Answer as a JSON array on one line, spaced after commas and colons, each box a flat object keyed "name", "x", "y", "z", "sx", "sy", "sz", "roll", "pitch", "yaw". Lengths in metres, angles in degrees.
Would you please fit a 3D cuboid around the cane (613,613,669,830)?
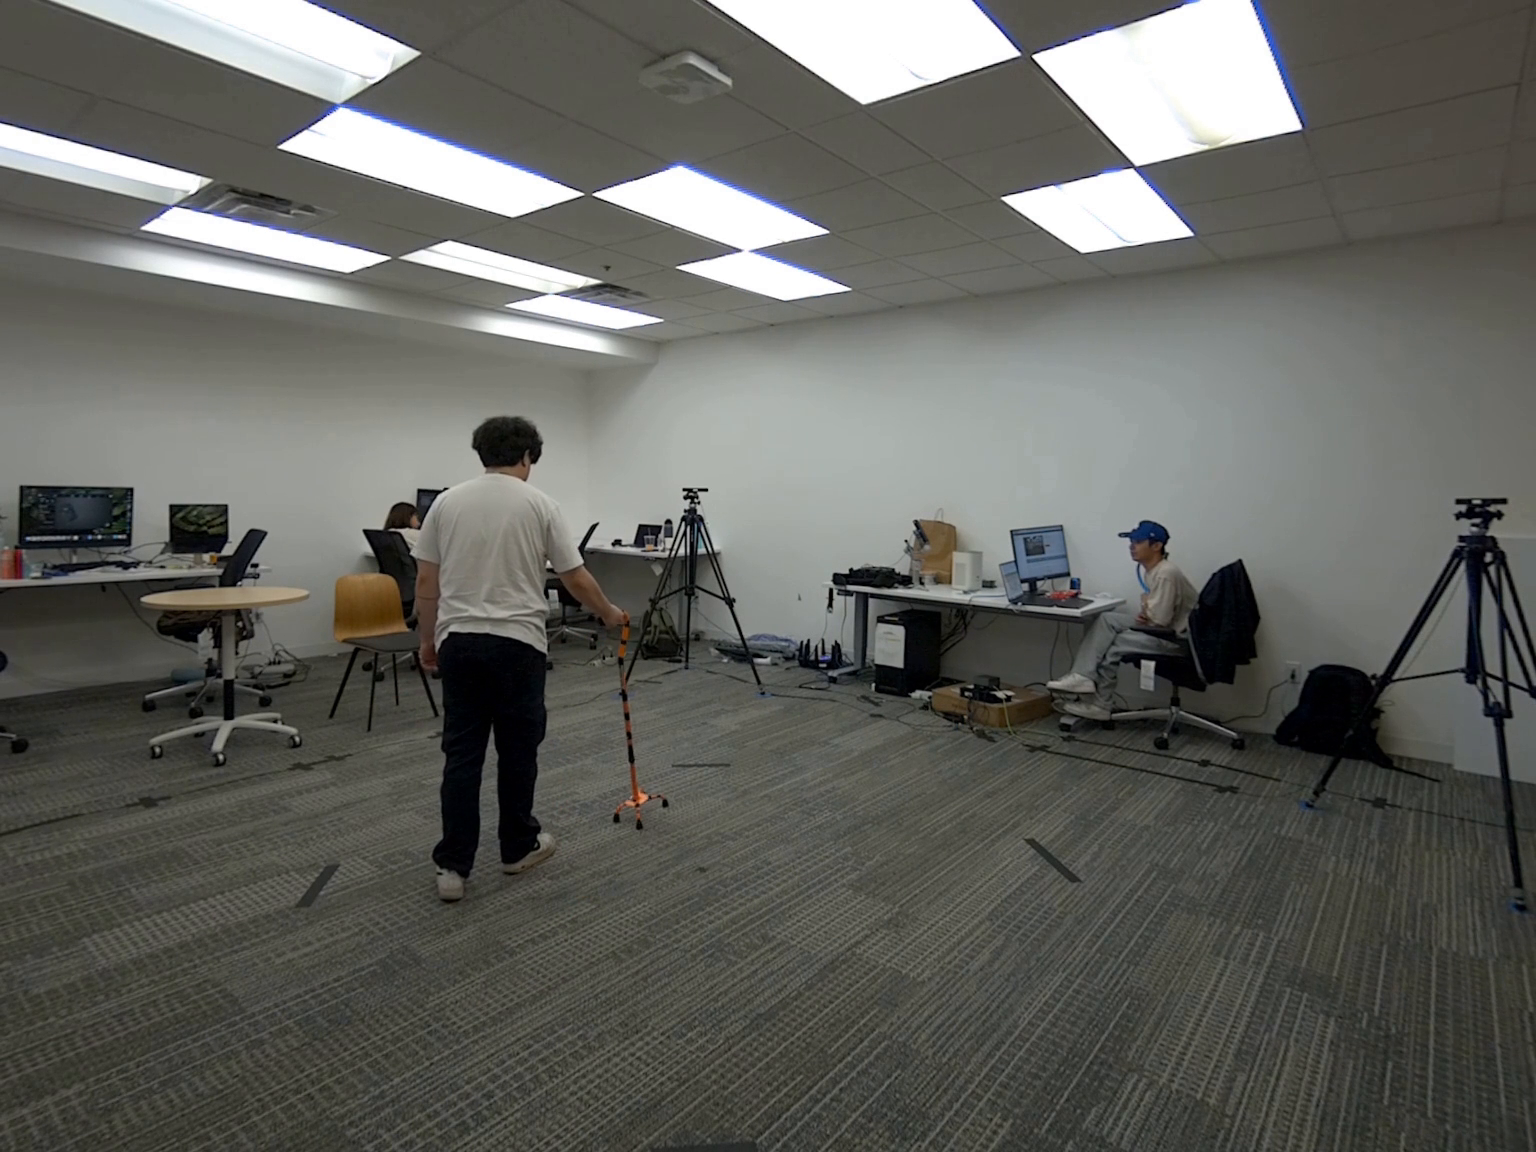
[{"name": "cane", "x": -0.576, "y": 0.561, "z": 3.470, "sx": 0.156, "sy": 0.895, "sz": 0.203, "roll": 6, "pitch": 17, "yaw": 32}]
